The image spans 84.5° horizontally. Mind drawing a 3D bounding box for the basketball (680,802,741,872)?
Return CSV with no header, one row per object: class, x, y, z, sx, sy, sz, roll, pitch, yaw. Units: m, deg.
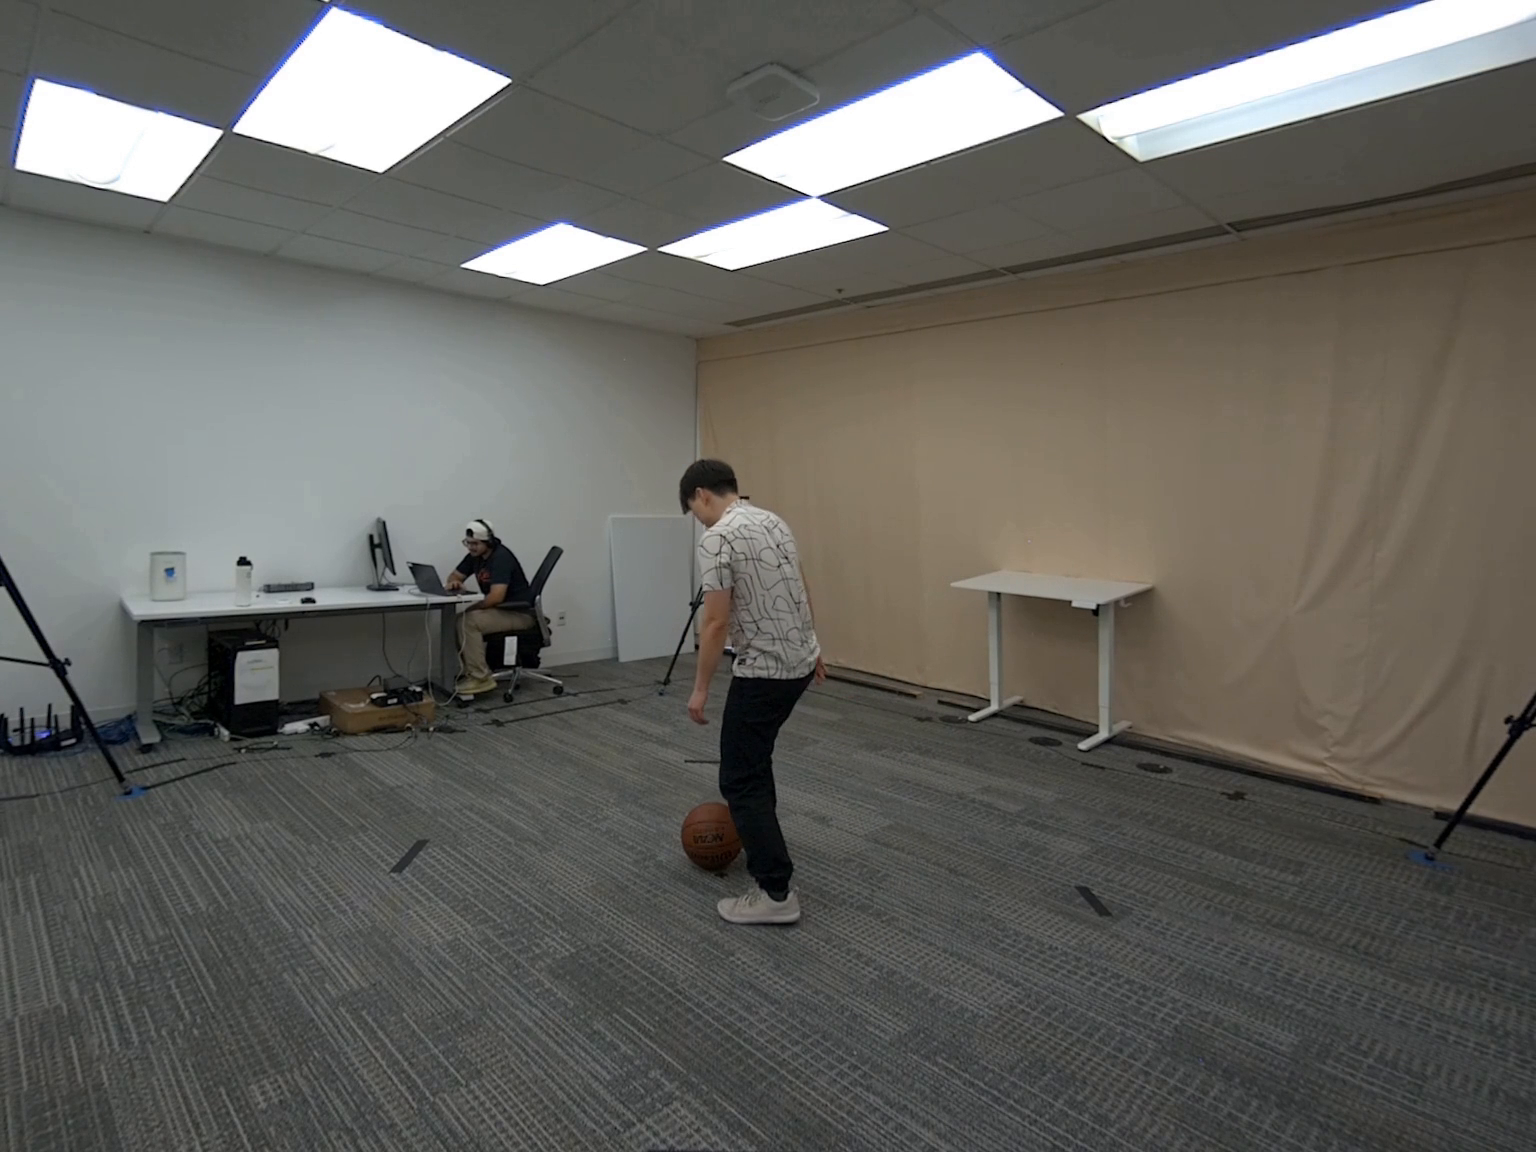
basketball,-0.213,0.971,3.170,0.236,0.235,0.237,1,4,-1
